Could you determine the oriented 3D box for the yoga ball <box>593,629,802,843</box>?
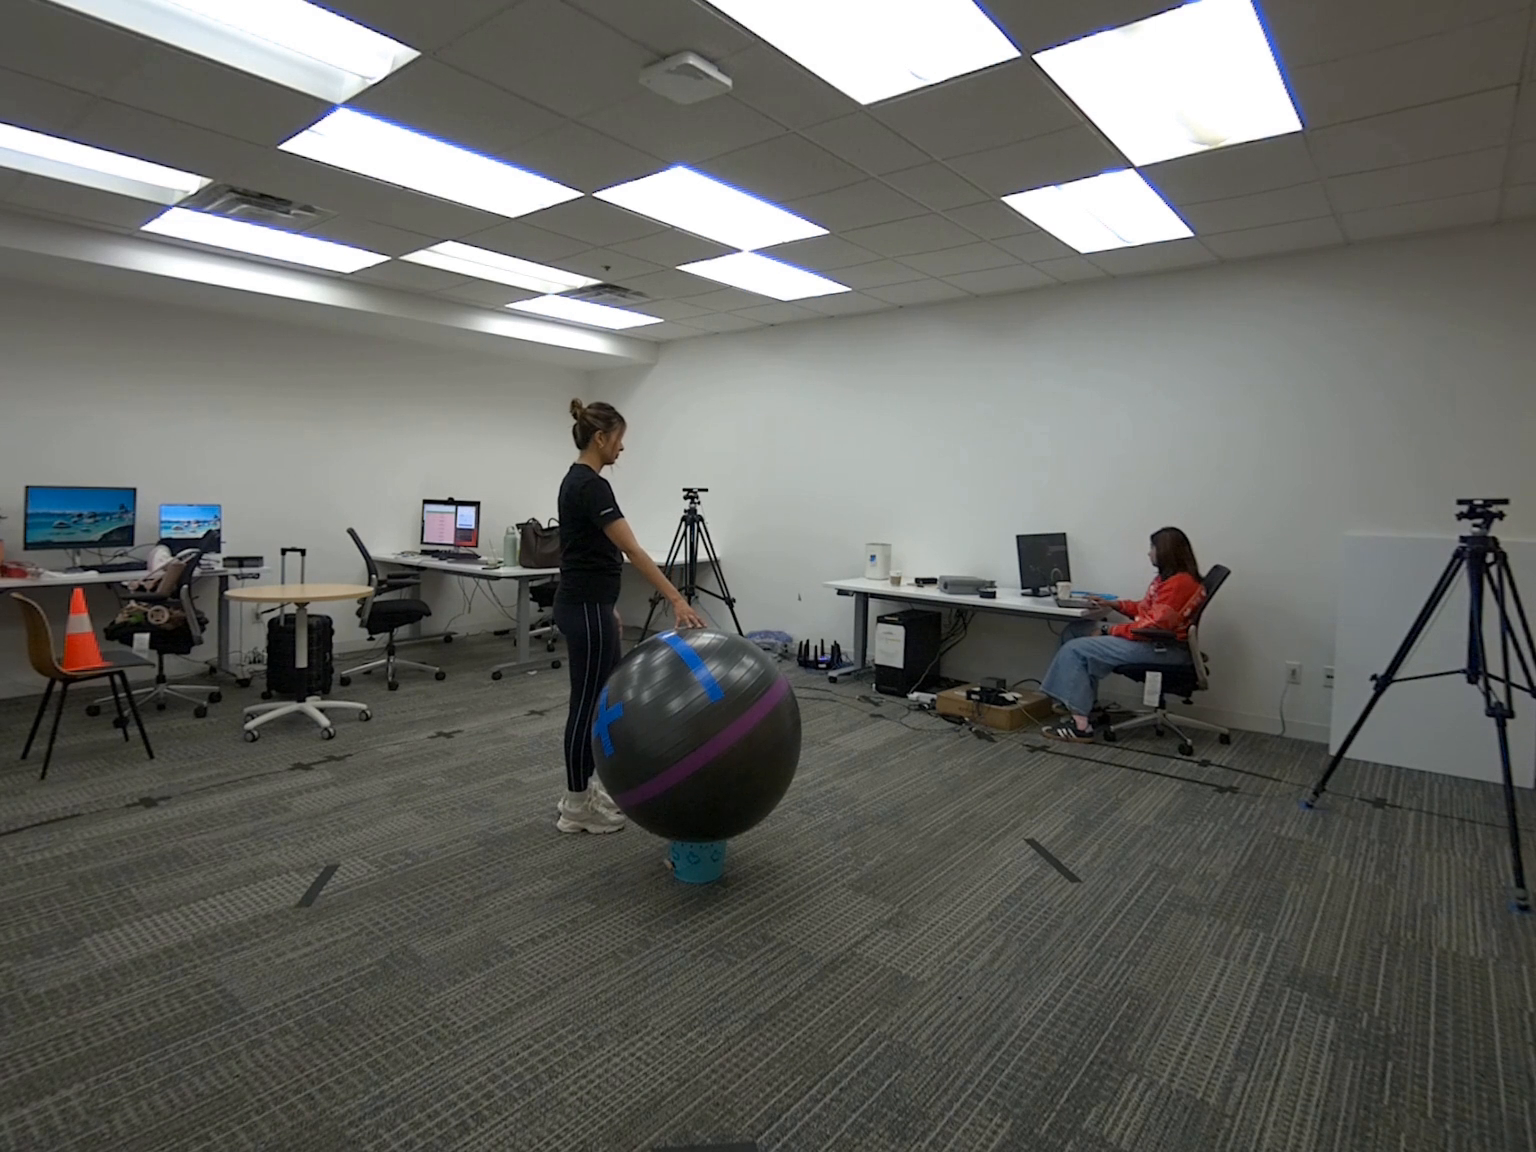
[{"bbox_3d":[-0.266,0.569,3.069,0.757,0.755,0.762,1,4,-2],"label":"yoga ball"}]
